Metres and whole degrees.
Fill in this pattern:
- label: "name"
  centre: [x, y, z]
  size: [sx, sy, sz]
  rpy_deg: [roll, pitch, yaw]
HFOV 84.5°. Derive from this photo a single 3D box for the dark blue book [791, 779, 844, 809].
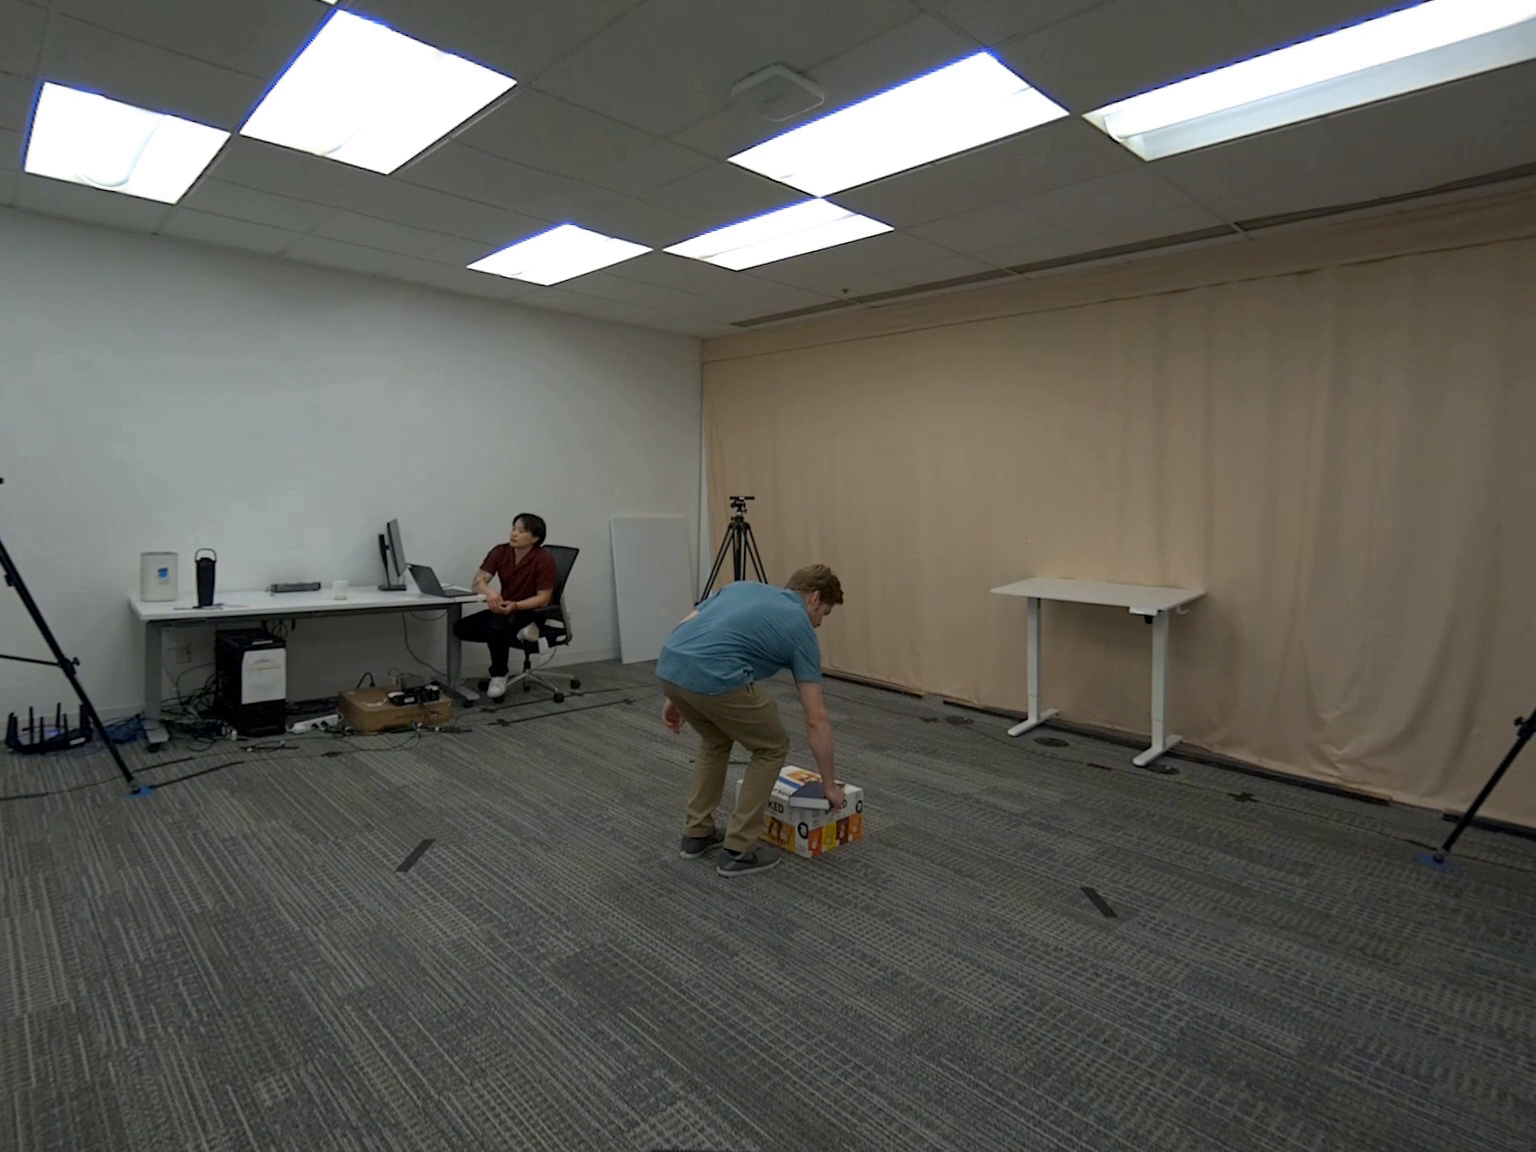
- label: "dark blue book"
  centre: [0.188, 0.869, 3.338]
  size: [0.166, 0.045, 0.241]
  rpy_deg: [-1, 0, 21]
